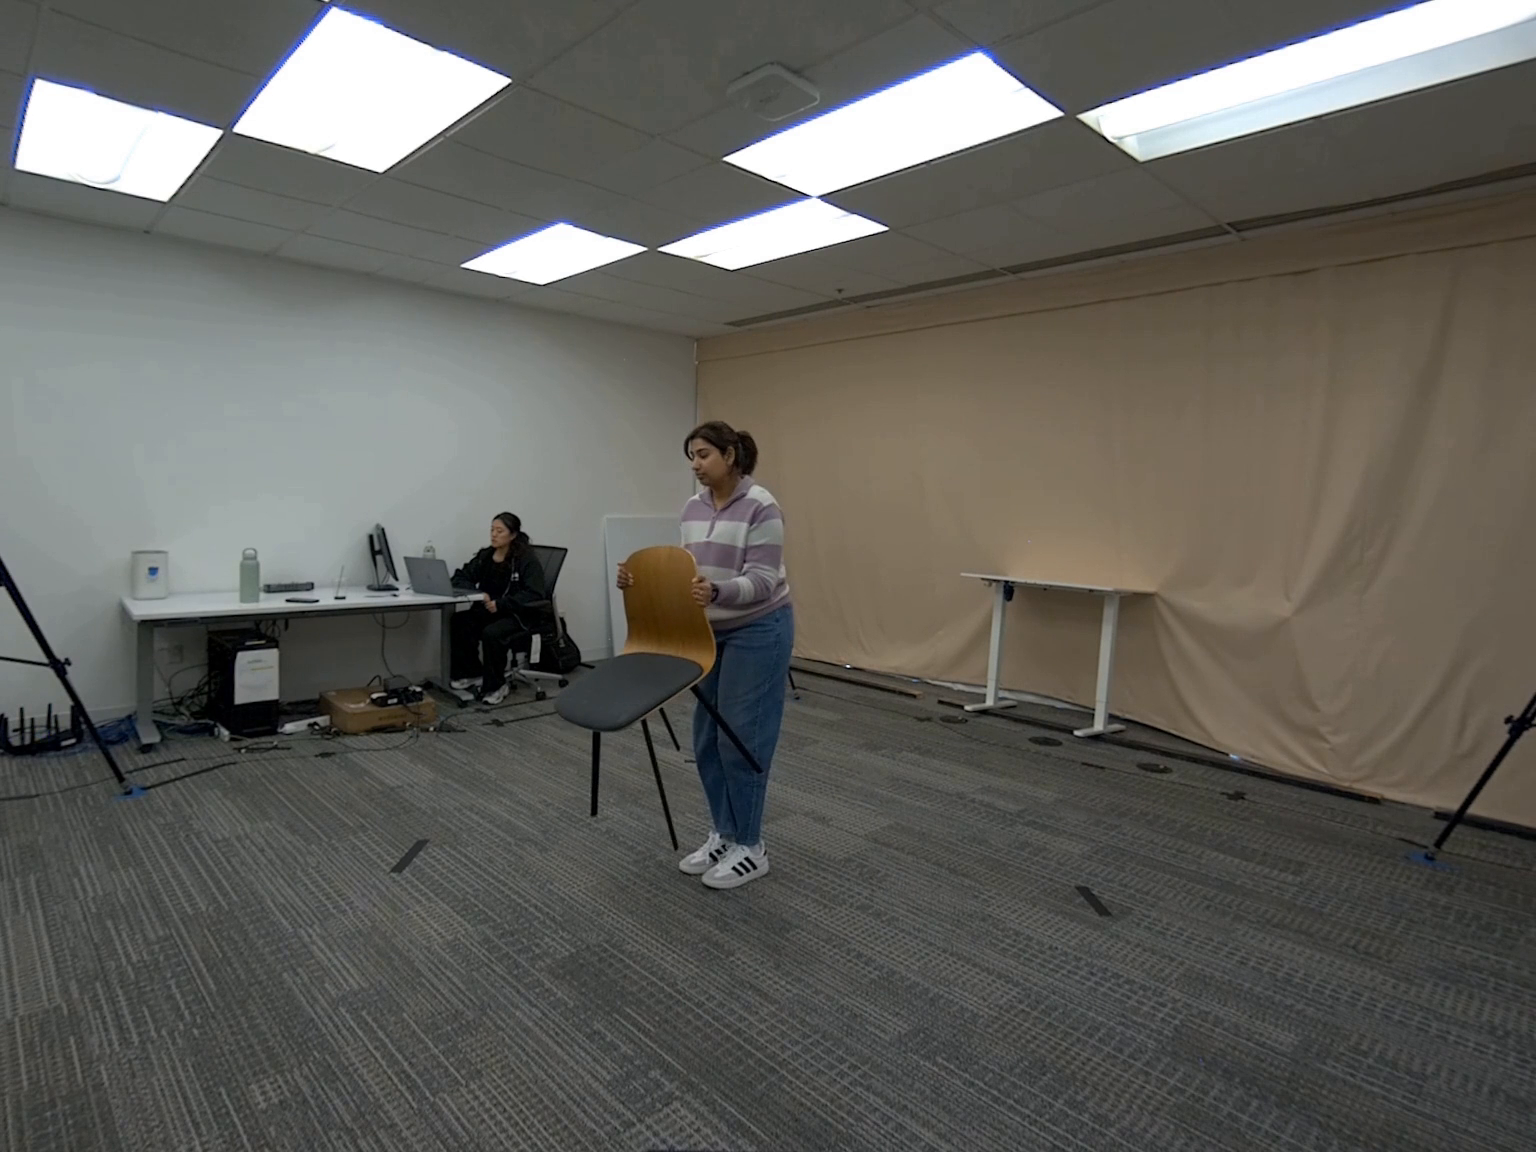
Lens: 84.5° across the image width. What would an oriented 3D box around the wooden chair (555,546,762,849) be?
[{"bbox_3d":[-0.429,0.396,2.866,0.490,0.866,0.517,3,20,42],"label":"wooden chair"}]
